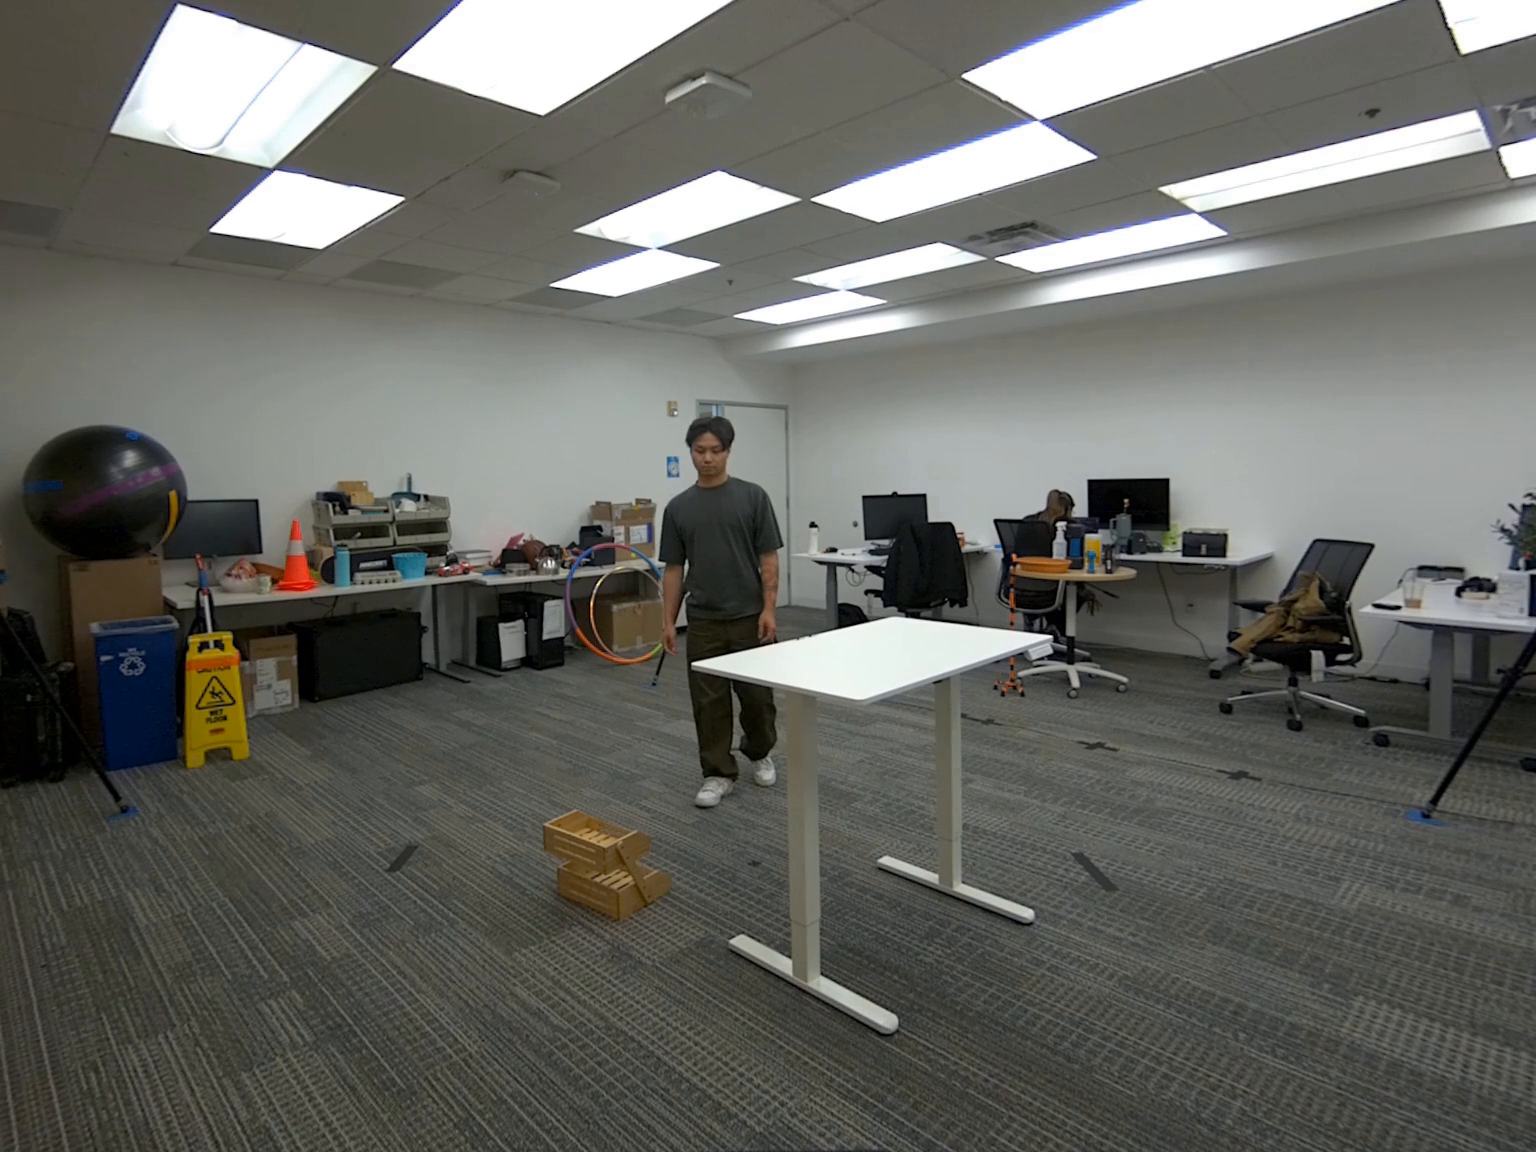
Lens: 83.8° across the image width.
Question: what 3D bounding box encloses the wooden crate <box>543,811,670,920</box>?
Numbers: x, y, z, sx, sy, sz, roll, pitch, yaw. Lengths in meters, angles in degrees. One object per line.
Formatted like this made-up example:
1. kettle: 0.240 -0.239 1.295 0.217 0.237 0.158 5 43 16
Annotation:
1. wooden crate: -0.537 0.944 2.883 0.334 0.272 0.295 4 8 37
